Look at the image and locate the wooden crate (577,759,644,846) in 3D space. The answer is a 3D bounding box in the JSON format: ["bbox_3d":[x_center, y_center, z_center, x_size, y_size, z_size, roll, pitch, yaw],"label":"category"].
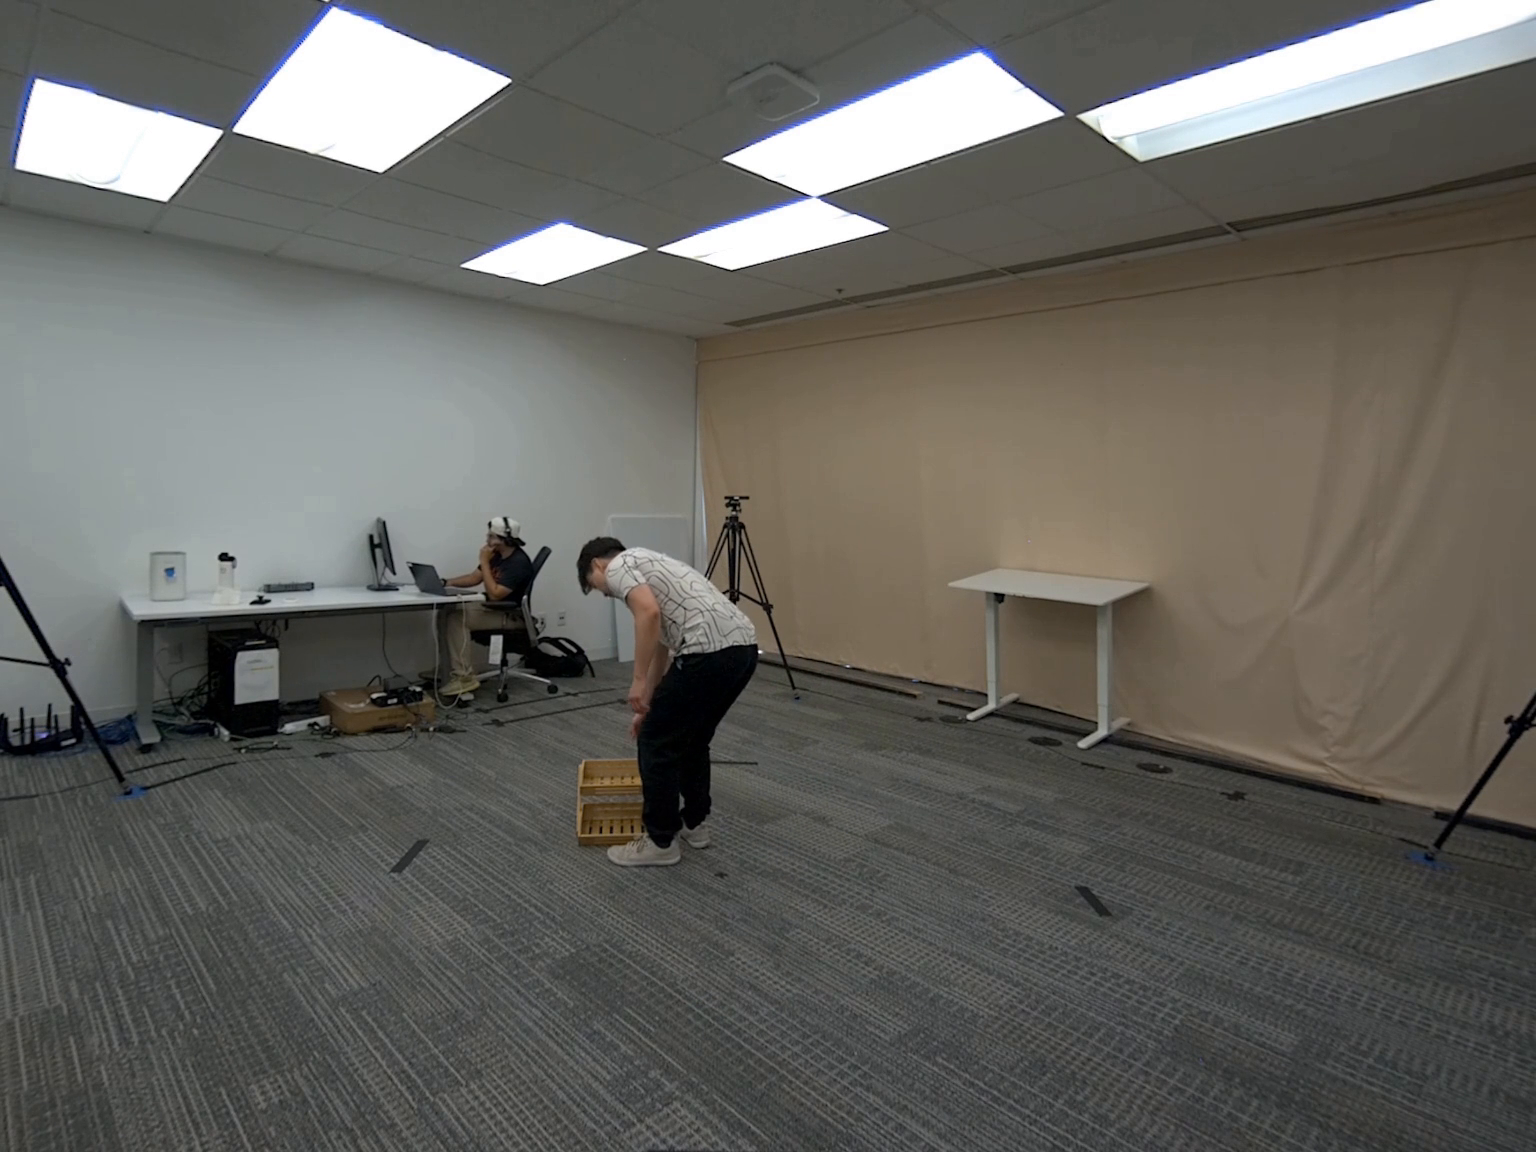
[{"bbox_3d":[-0.624,0.920,3.464,0.322,0.273,0.305,1,4,-8],"label":"wooden crate"}]
